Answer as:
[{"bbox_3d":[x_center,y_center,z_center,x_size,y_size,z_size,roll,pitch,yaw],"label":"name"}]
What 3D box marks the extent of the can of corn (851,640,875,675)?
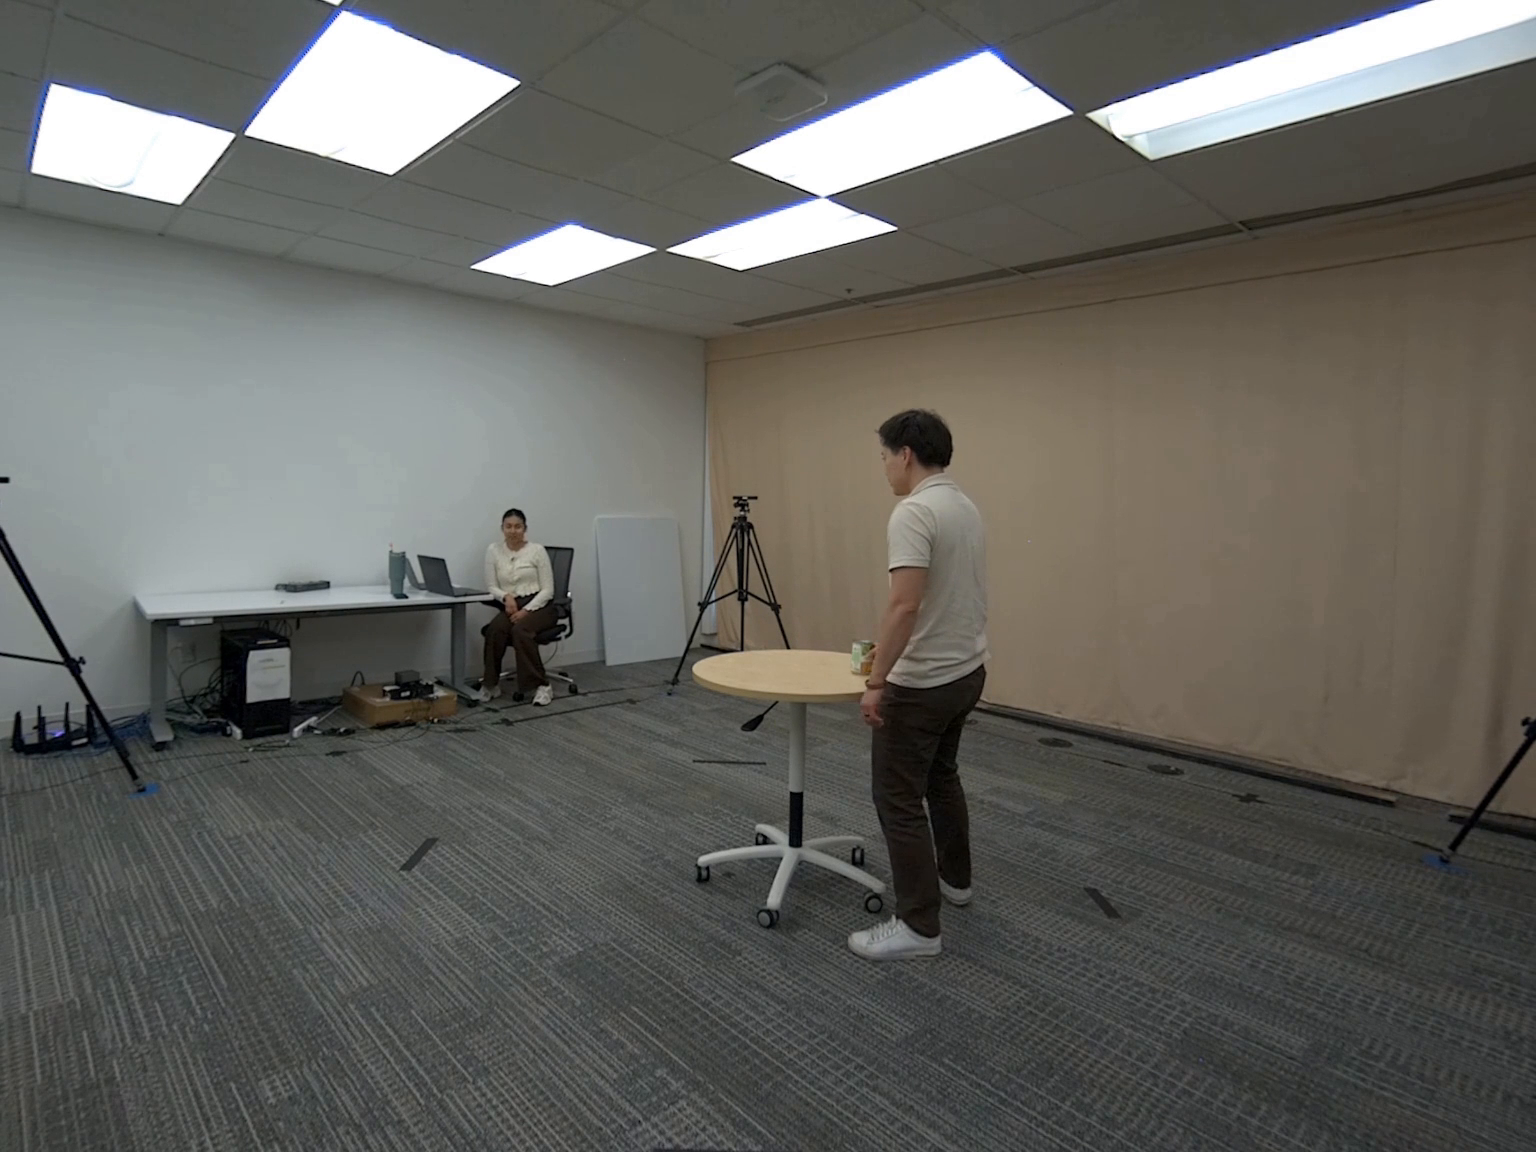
[{"bbox_3d":[0.332,0.288,2.953,0.074,0.111,0.074,3,3,-2],"label":"can of corn"}]
